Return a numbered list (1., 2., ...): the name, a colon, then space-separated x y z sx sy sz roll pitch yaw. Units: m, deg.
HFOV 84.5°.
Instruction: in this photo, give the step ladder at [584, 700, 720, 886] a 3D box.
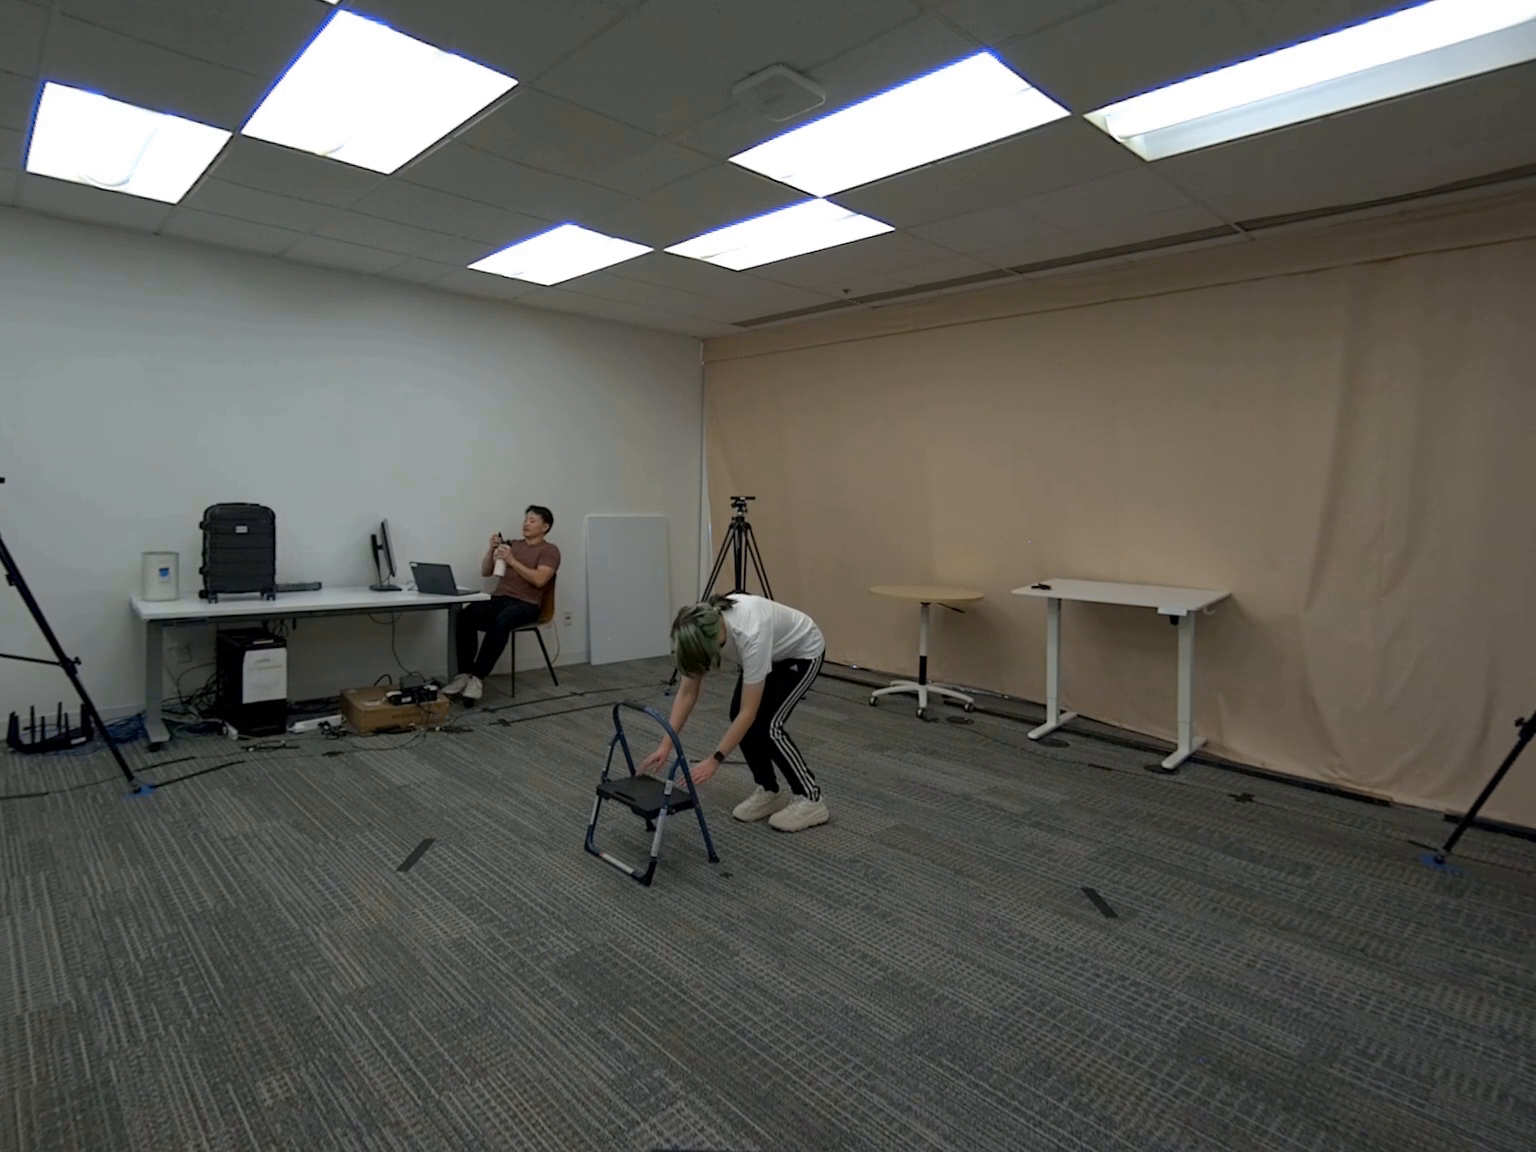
1. step ladder: -0.455 0.781 3.243 0.341 0.604 0.441 -2 5 -44
